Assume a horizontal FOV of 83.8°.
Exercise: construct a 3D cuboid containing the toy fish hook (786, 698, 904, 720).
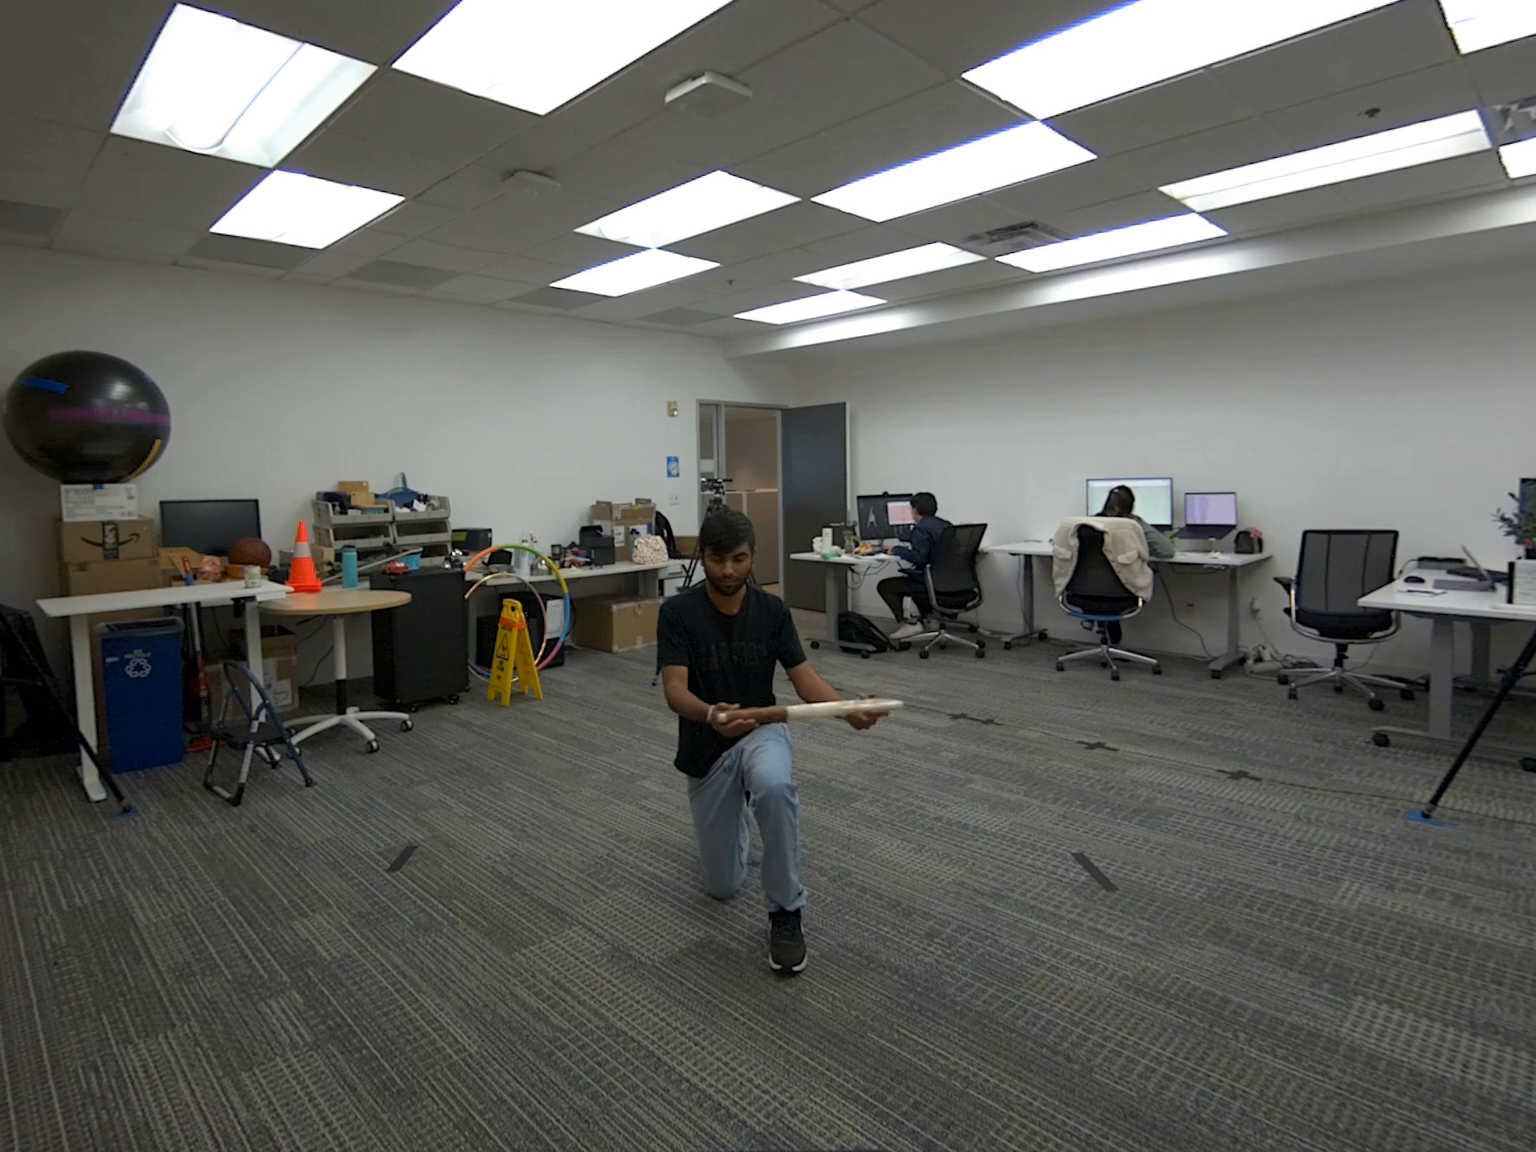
[{"bbox_3d":[0.098,0.362,2.334,0.500,0.049,0.224,-4,-14,-14],"label":"toy fish hook"}]
